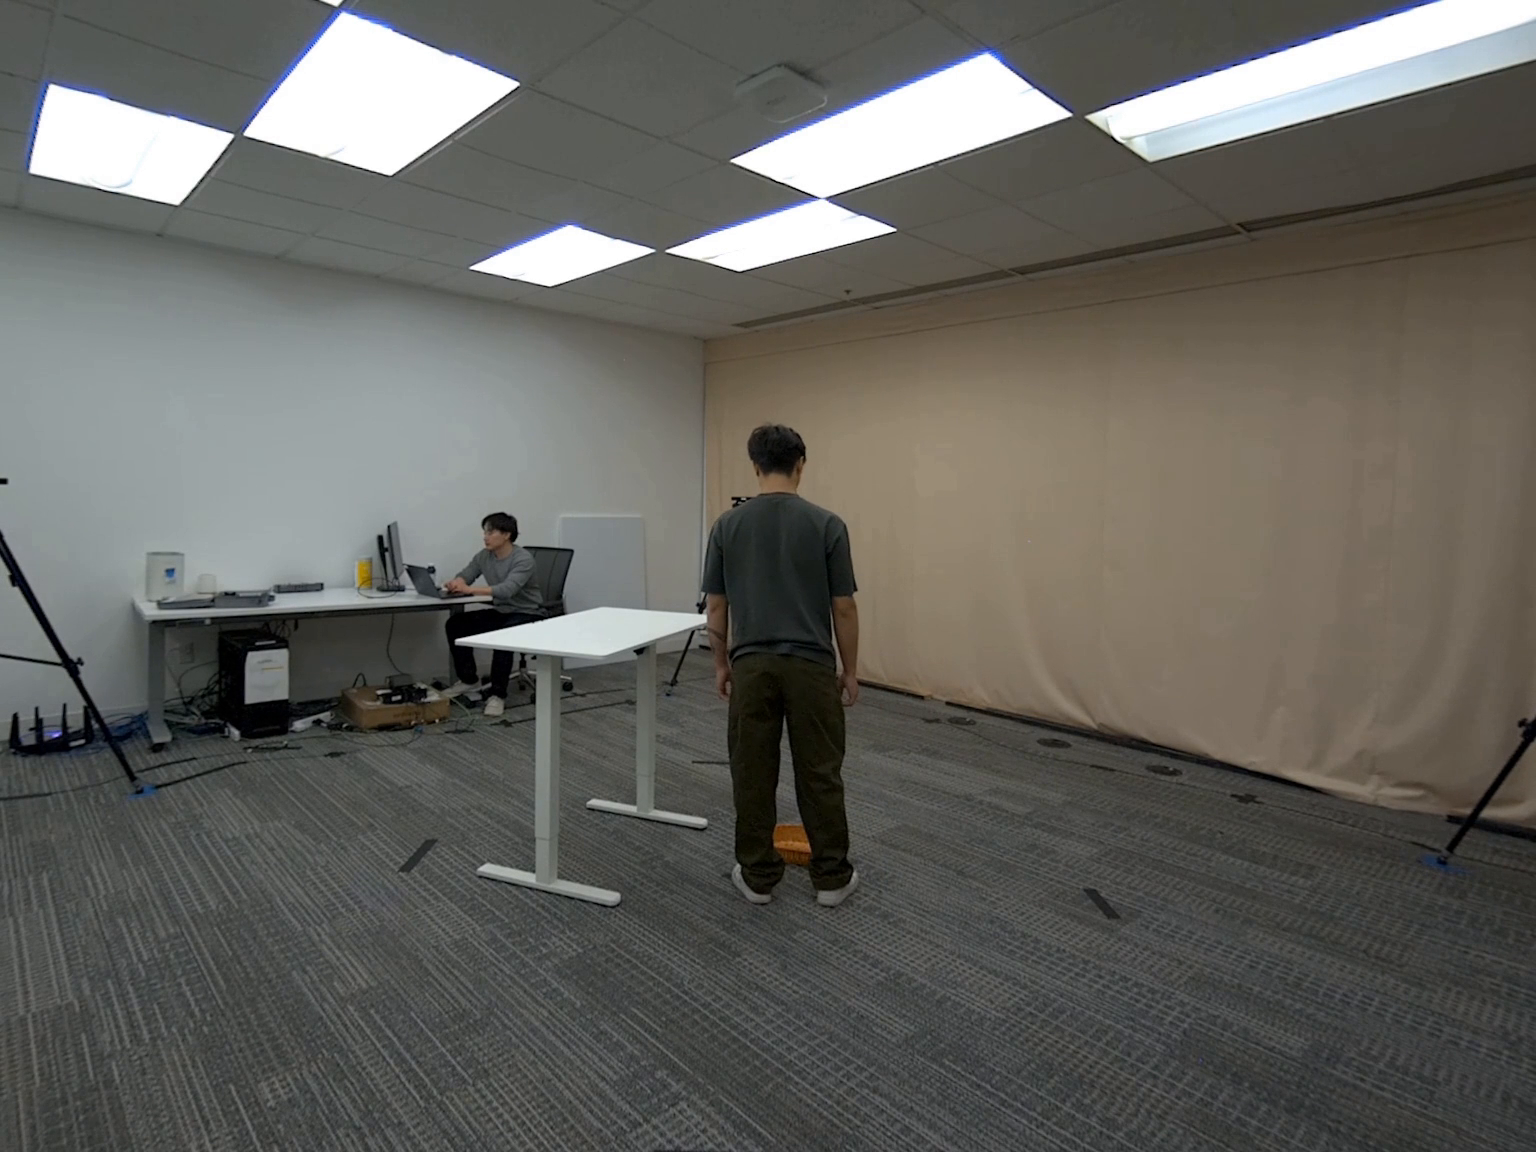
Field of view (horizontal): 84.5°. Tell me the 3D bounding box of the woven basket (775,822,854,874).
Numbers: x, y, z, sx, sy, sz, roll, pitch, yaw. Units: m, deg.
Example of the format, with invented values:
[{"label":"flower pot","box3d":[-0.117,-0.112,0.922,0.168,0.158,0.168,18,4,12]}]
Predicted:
[{"label":"woven basket","box3d":[0.132,1.062,3.302,0.356,0.073,0.249,3,5,19]}]
